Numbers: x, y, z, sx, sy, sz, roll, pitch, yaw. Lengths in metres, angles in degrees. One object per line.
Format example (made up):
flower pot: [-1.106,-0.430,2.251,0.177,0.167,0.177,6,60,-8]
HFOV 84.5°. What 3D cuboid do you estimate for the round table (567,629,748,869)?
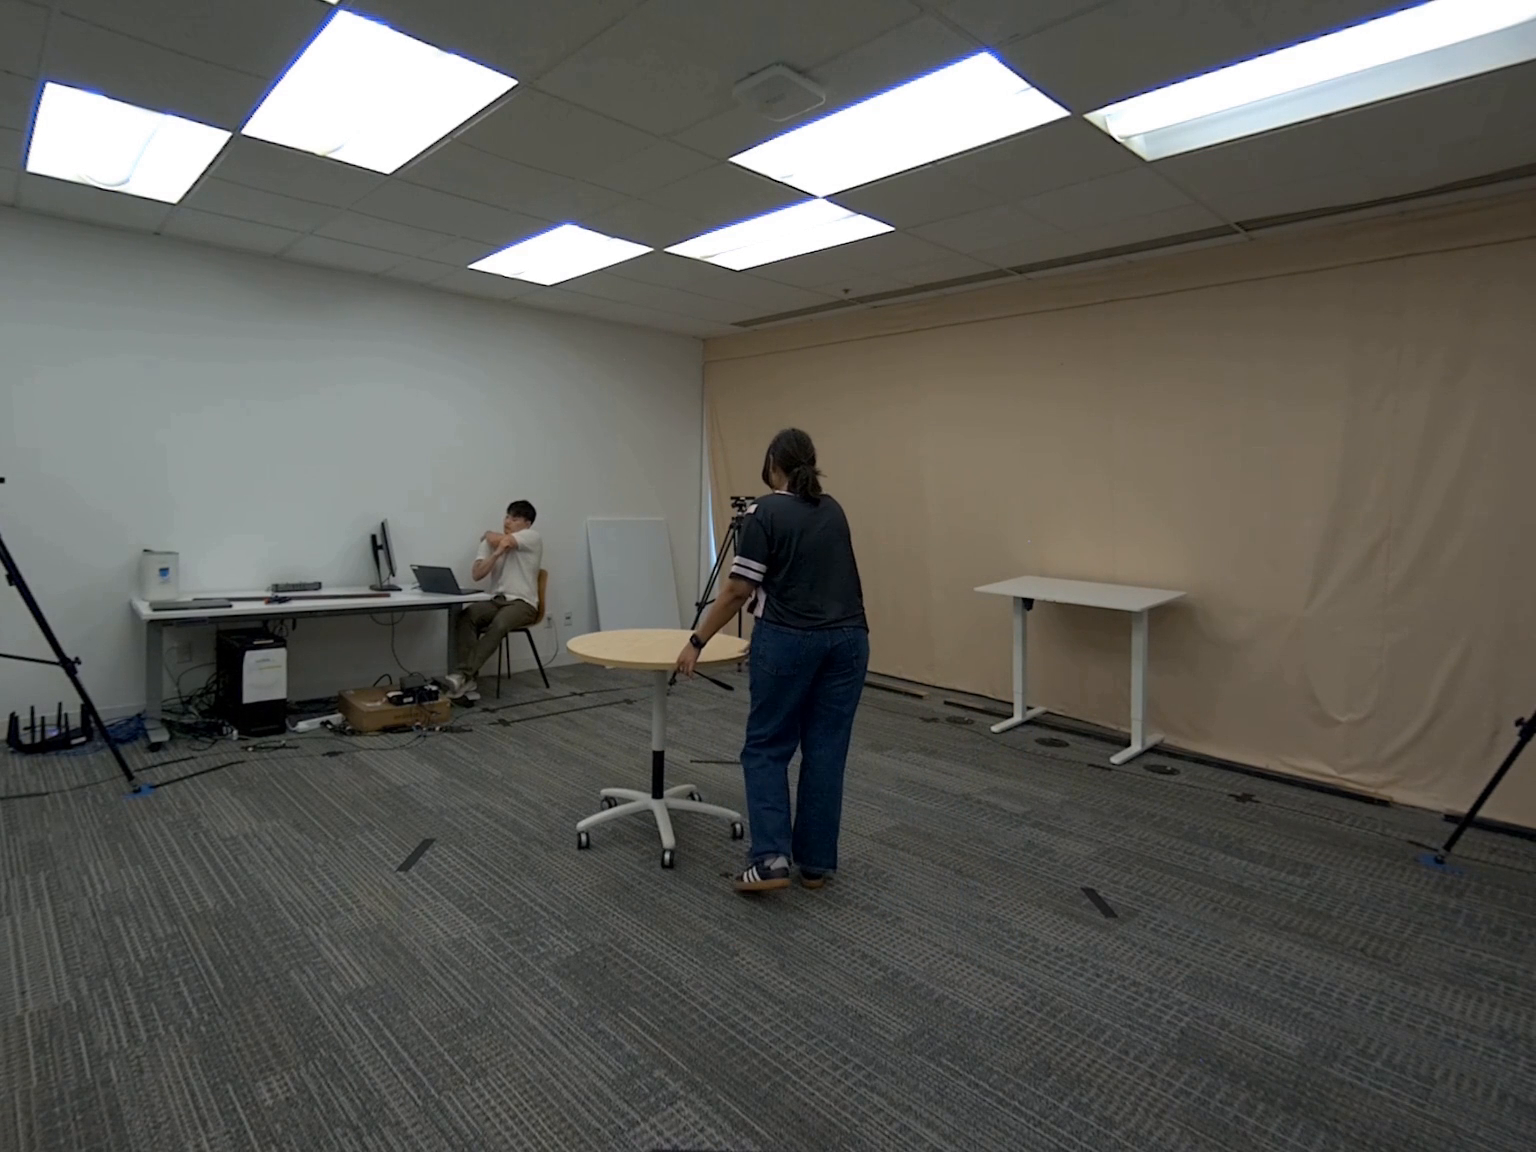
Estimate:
round table: [-0.466,0.668,3.495,0.784,0.784,0.788,2,4,-1]
